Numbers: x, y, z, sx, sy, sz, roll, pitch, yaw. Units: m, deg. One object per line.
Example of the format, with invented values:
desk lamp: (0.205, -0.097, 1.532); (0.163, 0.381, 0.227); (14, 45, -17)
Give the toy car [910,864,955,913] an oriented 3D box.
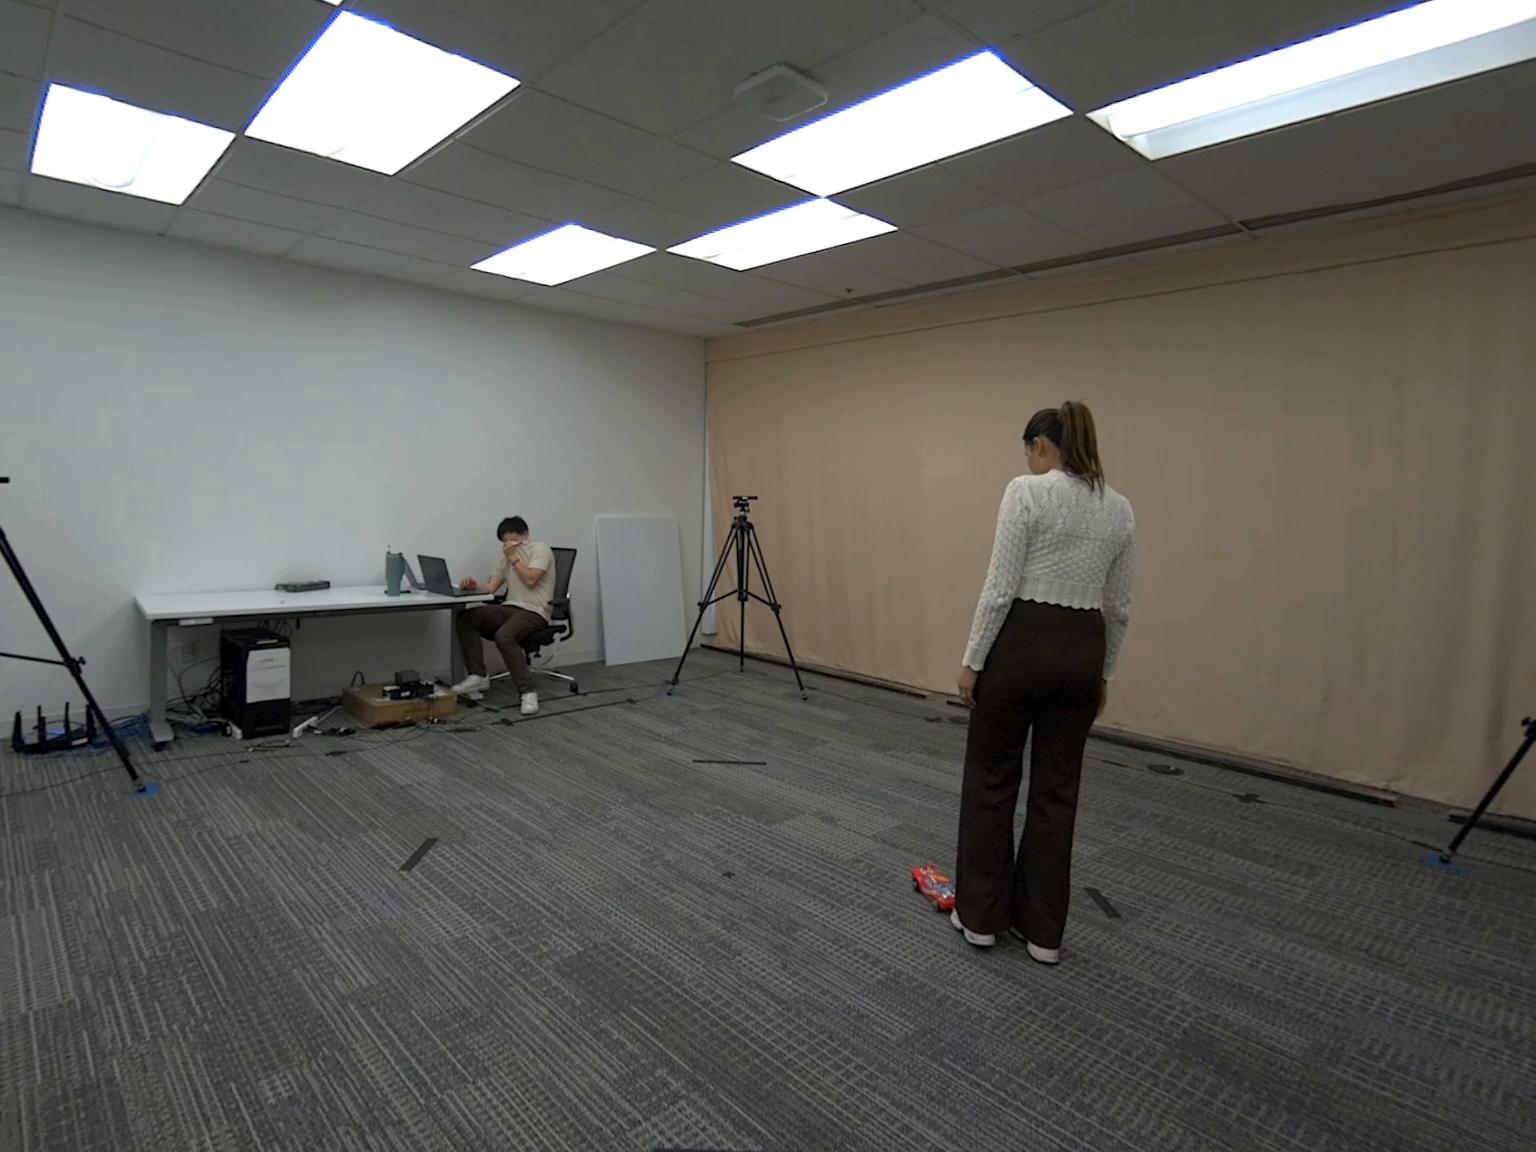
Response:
toy car: (0.593, 1.103, 2.966); (0.129, 0.082, 0.260); (-1, 17, -16)
